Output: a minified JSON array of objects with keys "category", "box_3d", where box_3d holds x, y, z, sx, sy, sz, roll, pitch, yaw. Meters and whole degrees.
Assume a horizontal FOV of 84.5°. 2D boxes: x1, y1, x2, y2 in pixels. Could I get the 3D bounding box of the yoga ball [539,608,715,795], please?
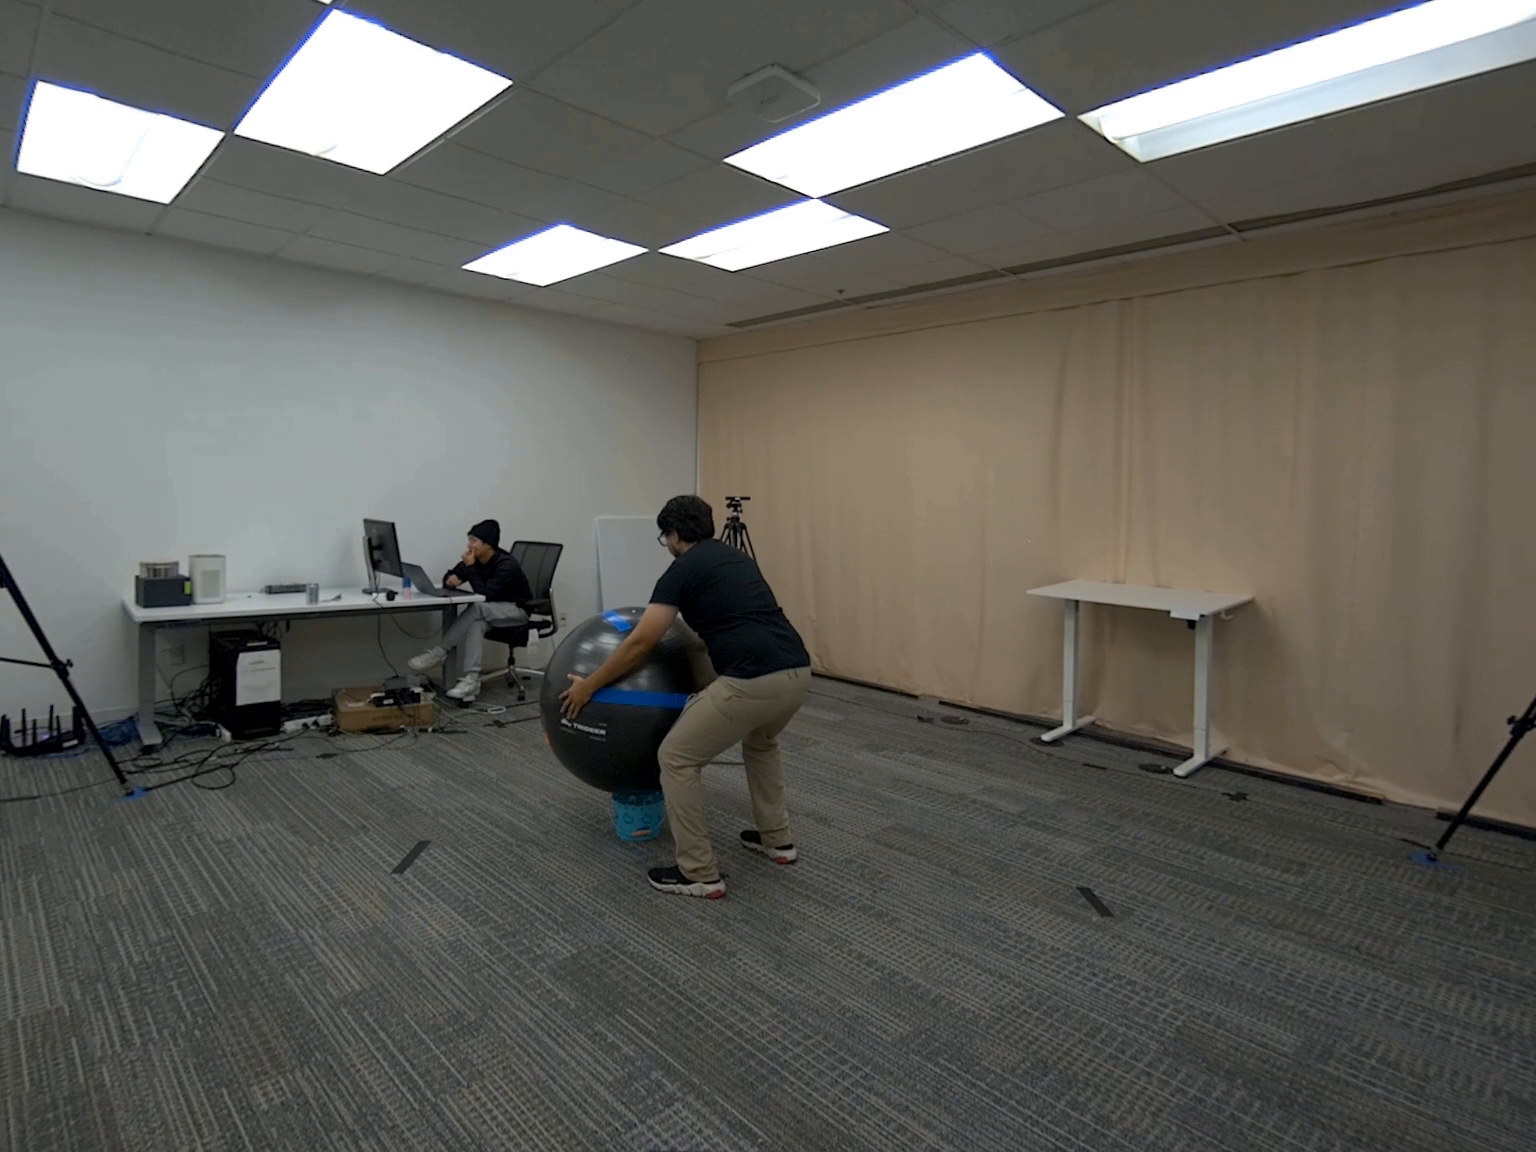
[{"category":"yoga ball","box_3d":[-0.568,0.513,3.478,0.757,0.756,0.761,1,4,-1]}]
